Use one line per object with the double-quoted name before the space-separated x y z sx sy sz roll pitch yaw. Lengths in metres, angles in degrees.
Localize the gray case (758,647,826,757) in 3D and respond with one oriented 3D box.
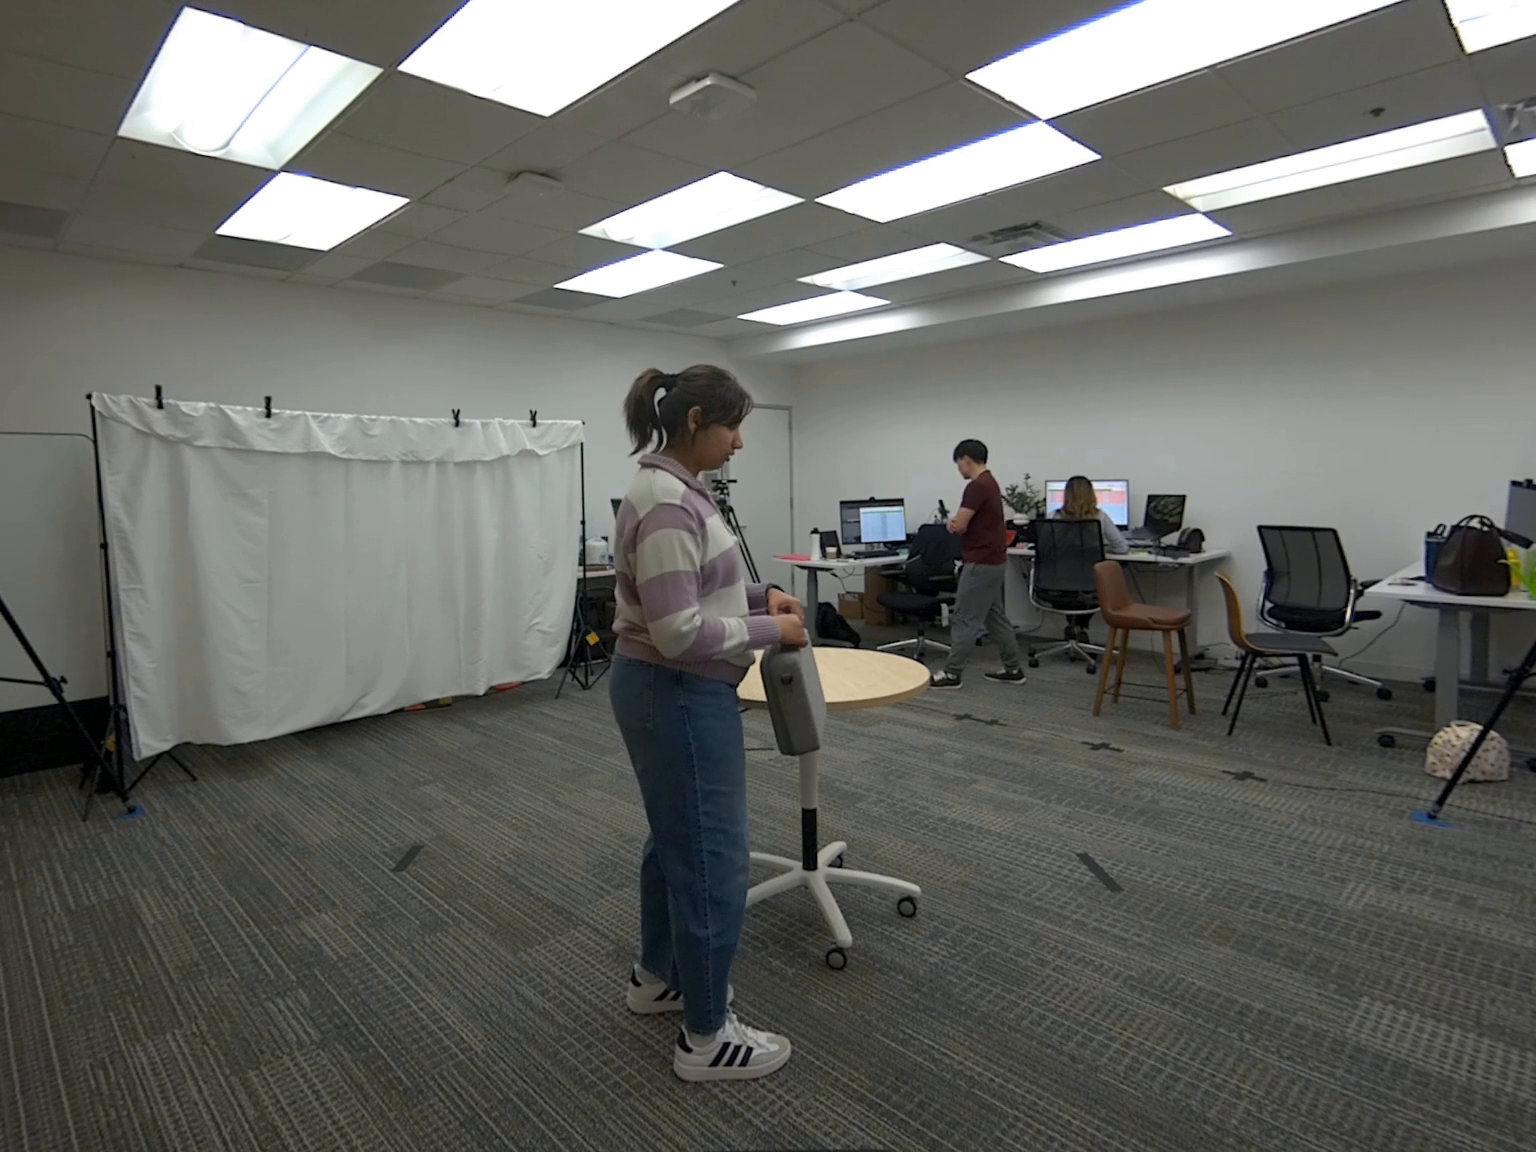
"gray case" 0.064 0.269 2.117 0.105 0.258 0.256 -10 8 11
